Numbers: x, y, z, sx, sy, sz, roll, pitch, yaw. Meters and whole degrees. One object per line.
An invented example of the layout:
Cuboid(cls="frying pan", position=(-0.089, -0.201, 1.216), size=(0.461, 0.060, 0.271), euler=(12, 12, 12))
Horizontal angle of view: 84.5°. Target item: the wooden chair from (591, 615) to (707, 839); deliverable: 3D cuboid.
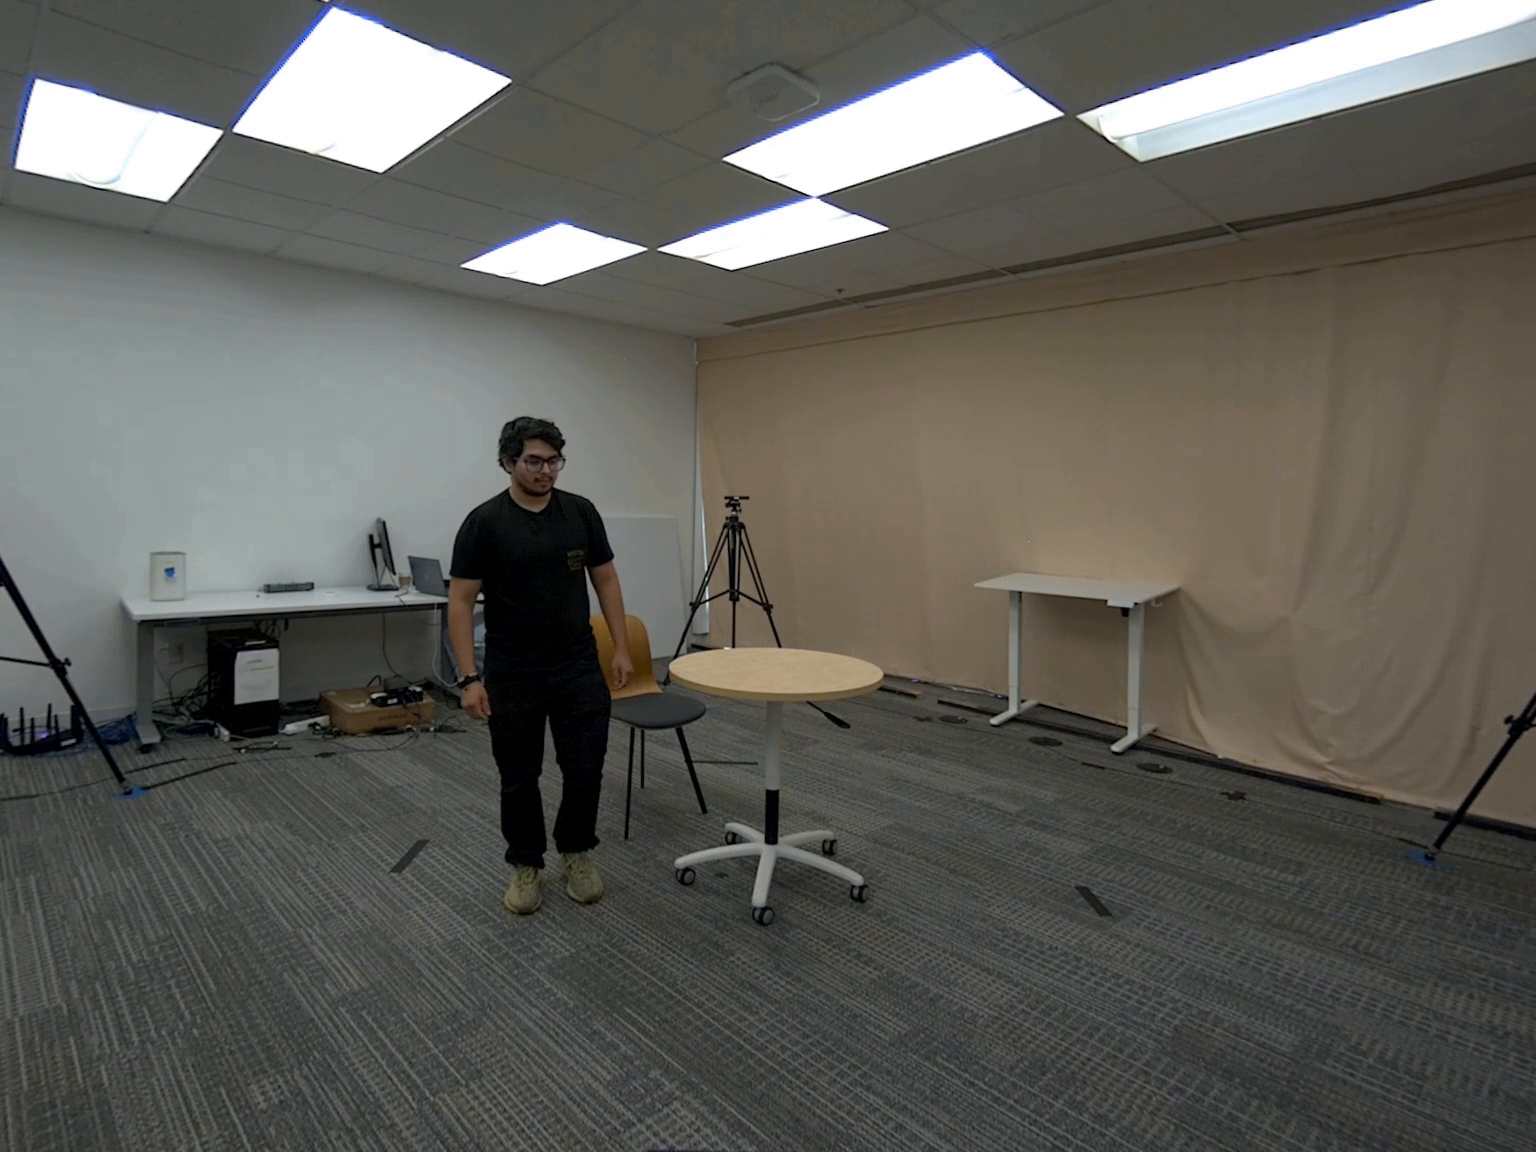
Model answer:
Cuboid(cls="wooden chair", position=(-0.573, 0.615, 3.683), size=(0.535, 0.878, 0.467), euler=(-1, 0, 44))
